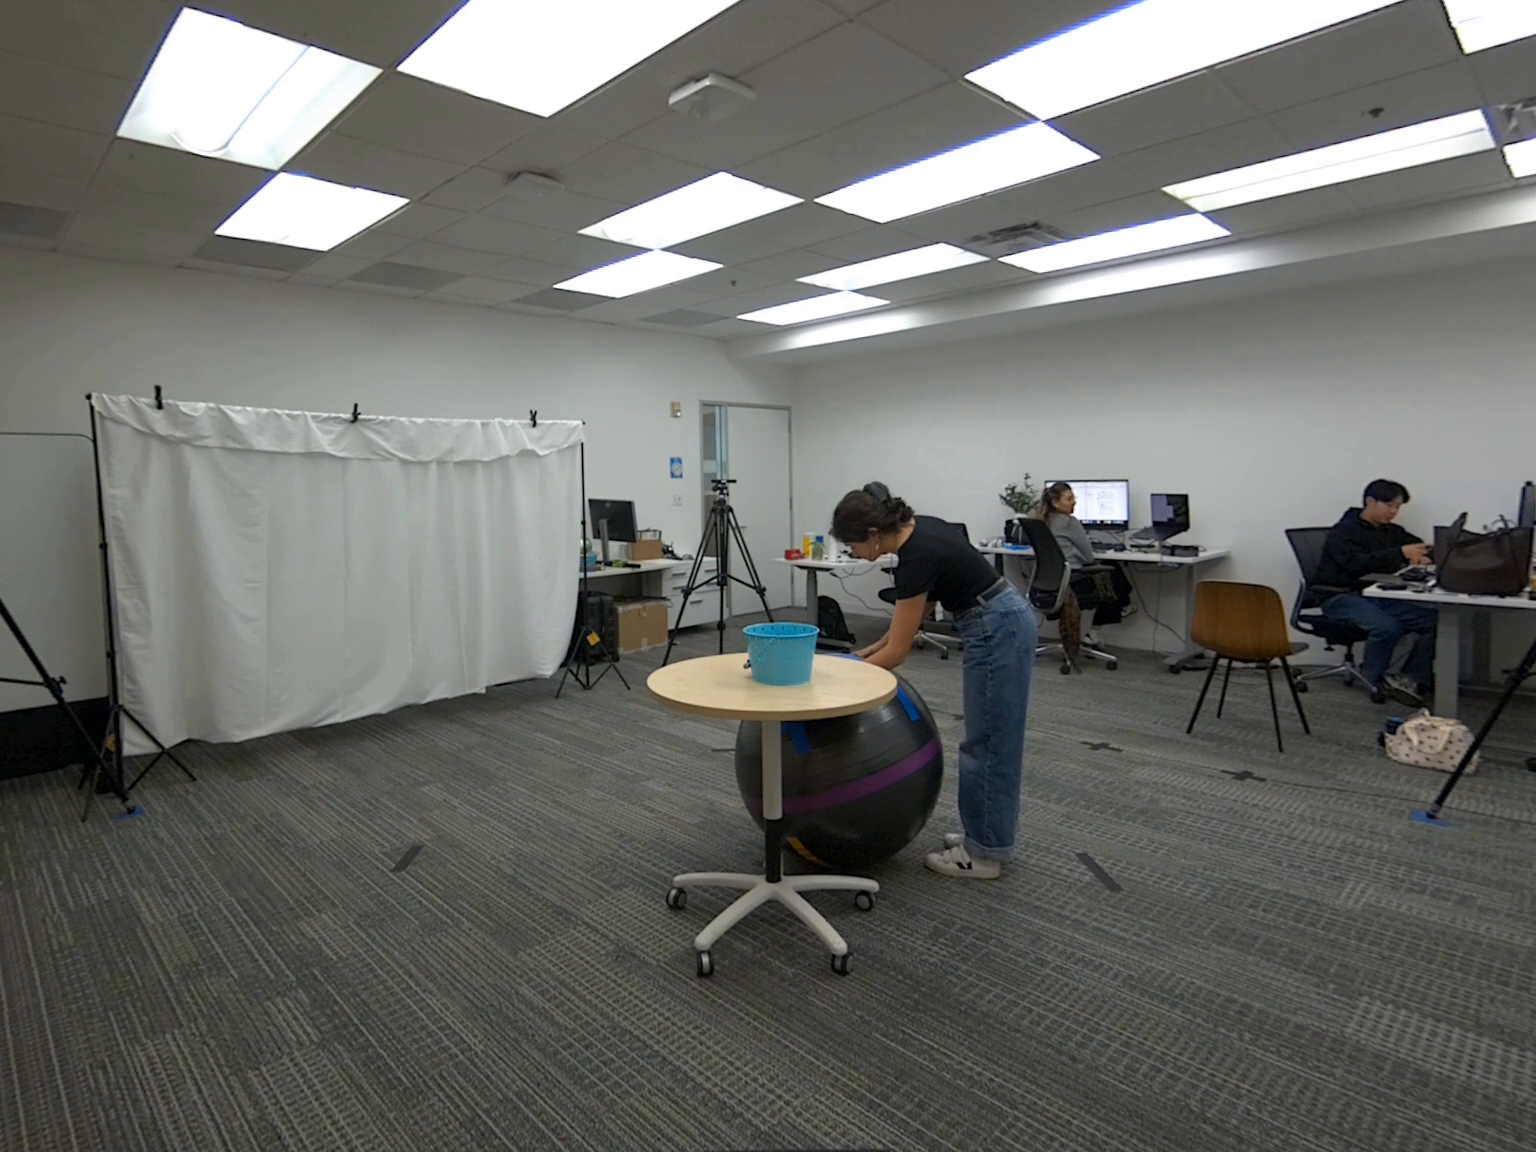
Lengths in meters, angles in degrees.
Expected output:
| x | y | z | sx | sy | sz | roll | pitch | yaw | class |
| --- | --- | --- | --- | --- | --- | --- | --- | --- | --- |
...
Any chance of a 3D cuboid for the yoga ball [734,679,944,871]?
| x | y | z | sx | sy | sz | roll | pitch | yaw | class |
| --- | --- | --- | --- | --- | --- | --- | --- | --- | --- |
| 0.259 | 0.675 | 3.143 | 0.757 | 0.755 | 0.762 | -1 | 5 | -2 | yoga ball |
